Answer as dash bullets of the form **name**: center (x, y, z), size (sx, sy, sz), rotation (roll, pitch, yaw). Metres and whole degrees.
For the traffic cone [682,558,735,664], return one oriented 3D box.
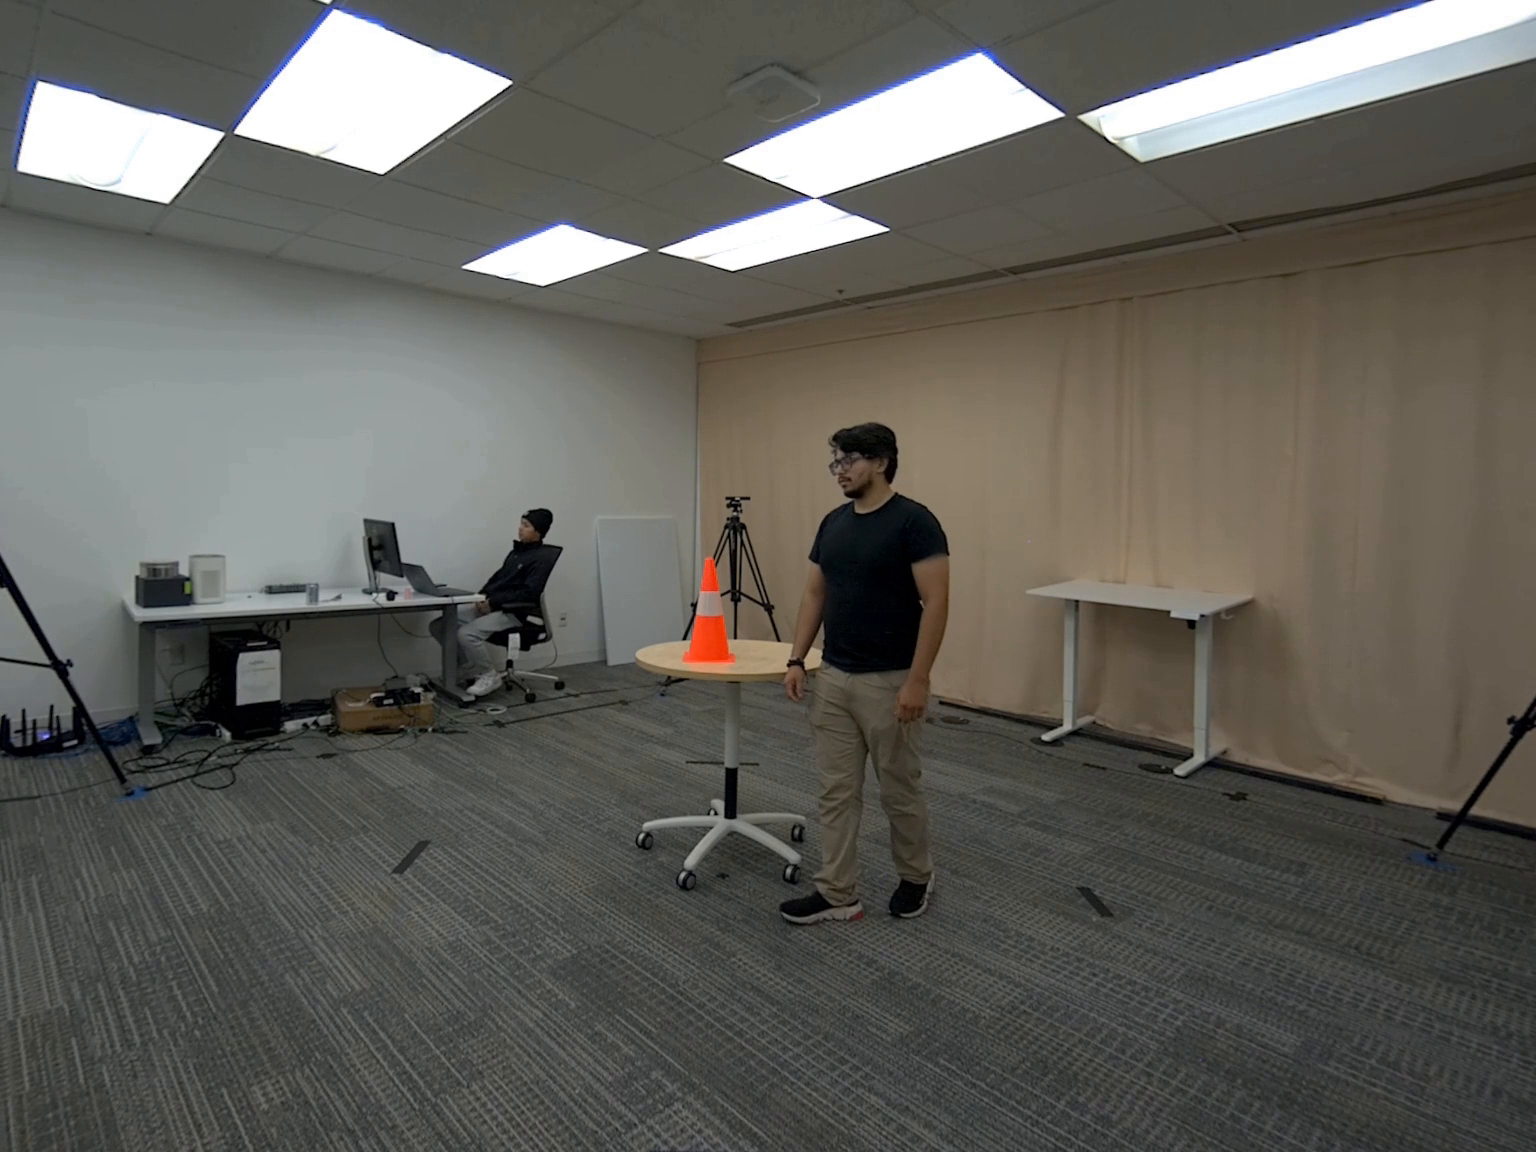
- **traffic cone**: center (-0.228, 0.127, 3.185), size (0.203, 0.383, 0.205), rotation (1, 2, -2)
